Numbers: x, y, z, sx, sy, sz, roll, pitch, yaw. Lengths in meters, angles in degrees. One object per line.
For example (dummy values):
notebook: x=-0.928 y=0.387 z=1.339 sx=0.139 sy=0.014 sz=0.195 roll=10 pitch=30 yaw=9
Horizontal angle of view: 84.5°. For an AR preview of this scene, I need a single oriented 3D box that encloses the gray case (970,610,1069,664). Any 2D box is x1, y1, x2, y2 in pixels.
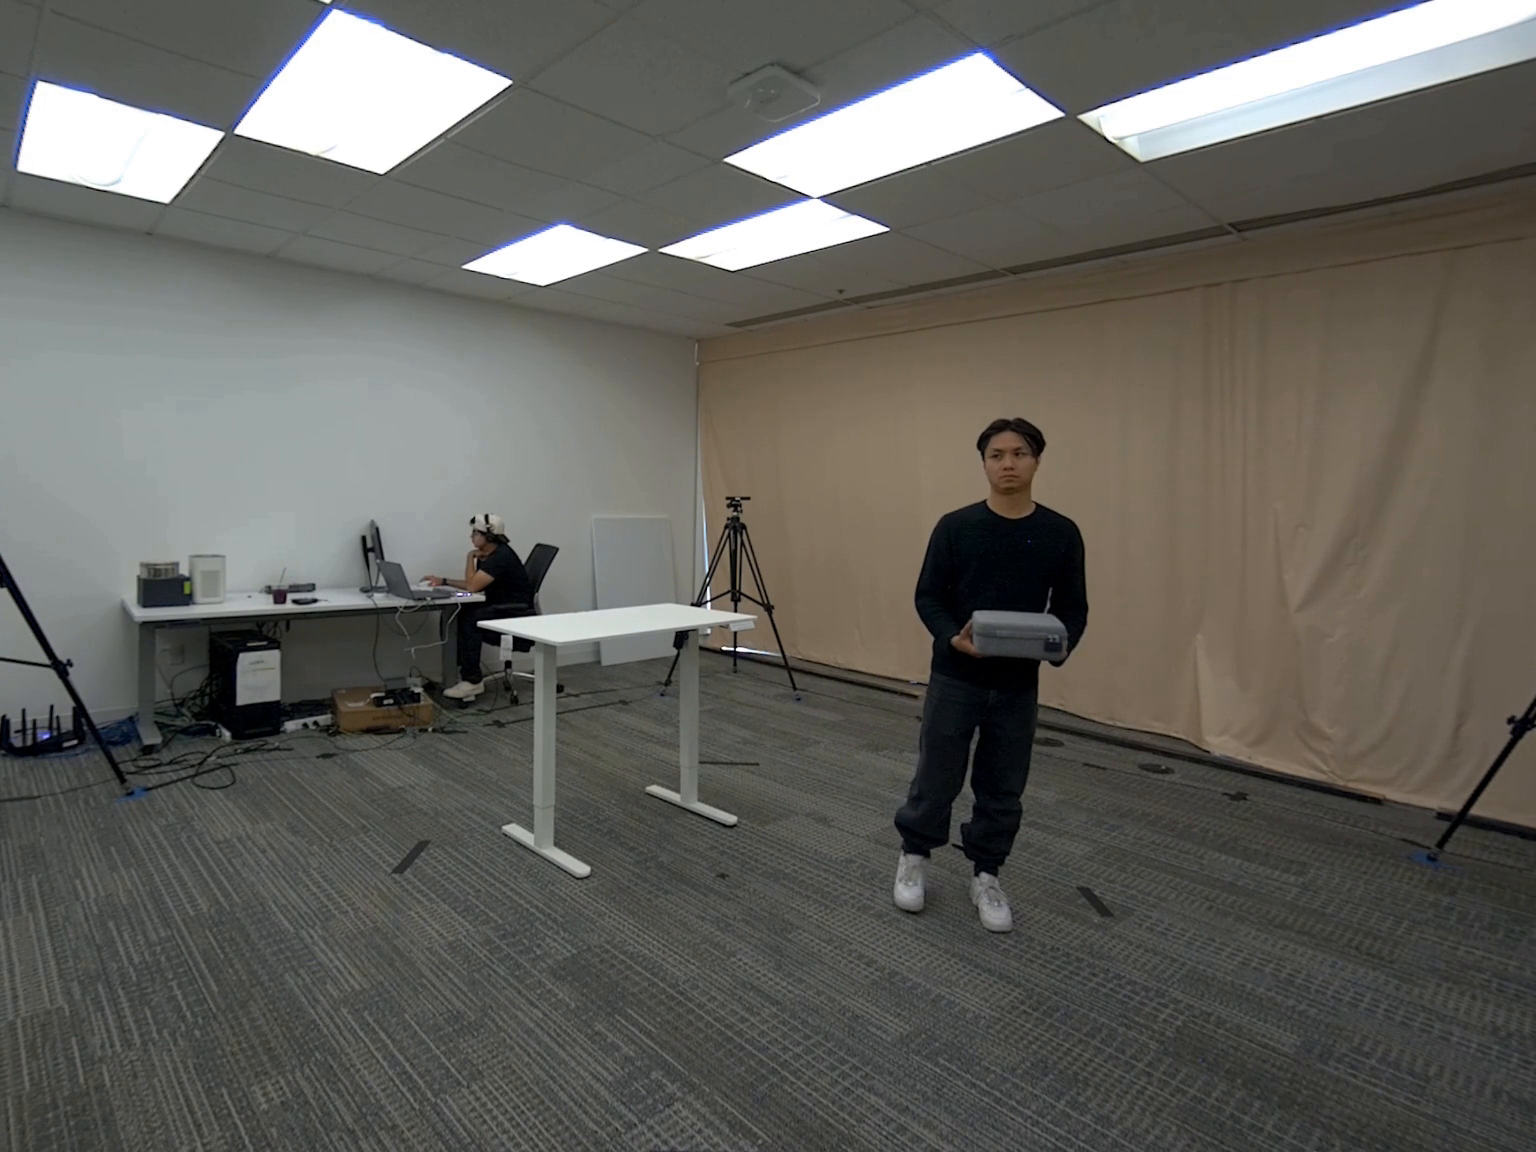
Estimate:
gray case: x=0.736 y=0.173 z=2.536 sx=0.261 sy=0.104 sz=0.257 roll=-1 pitch=7 yaw=4
